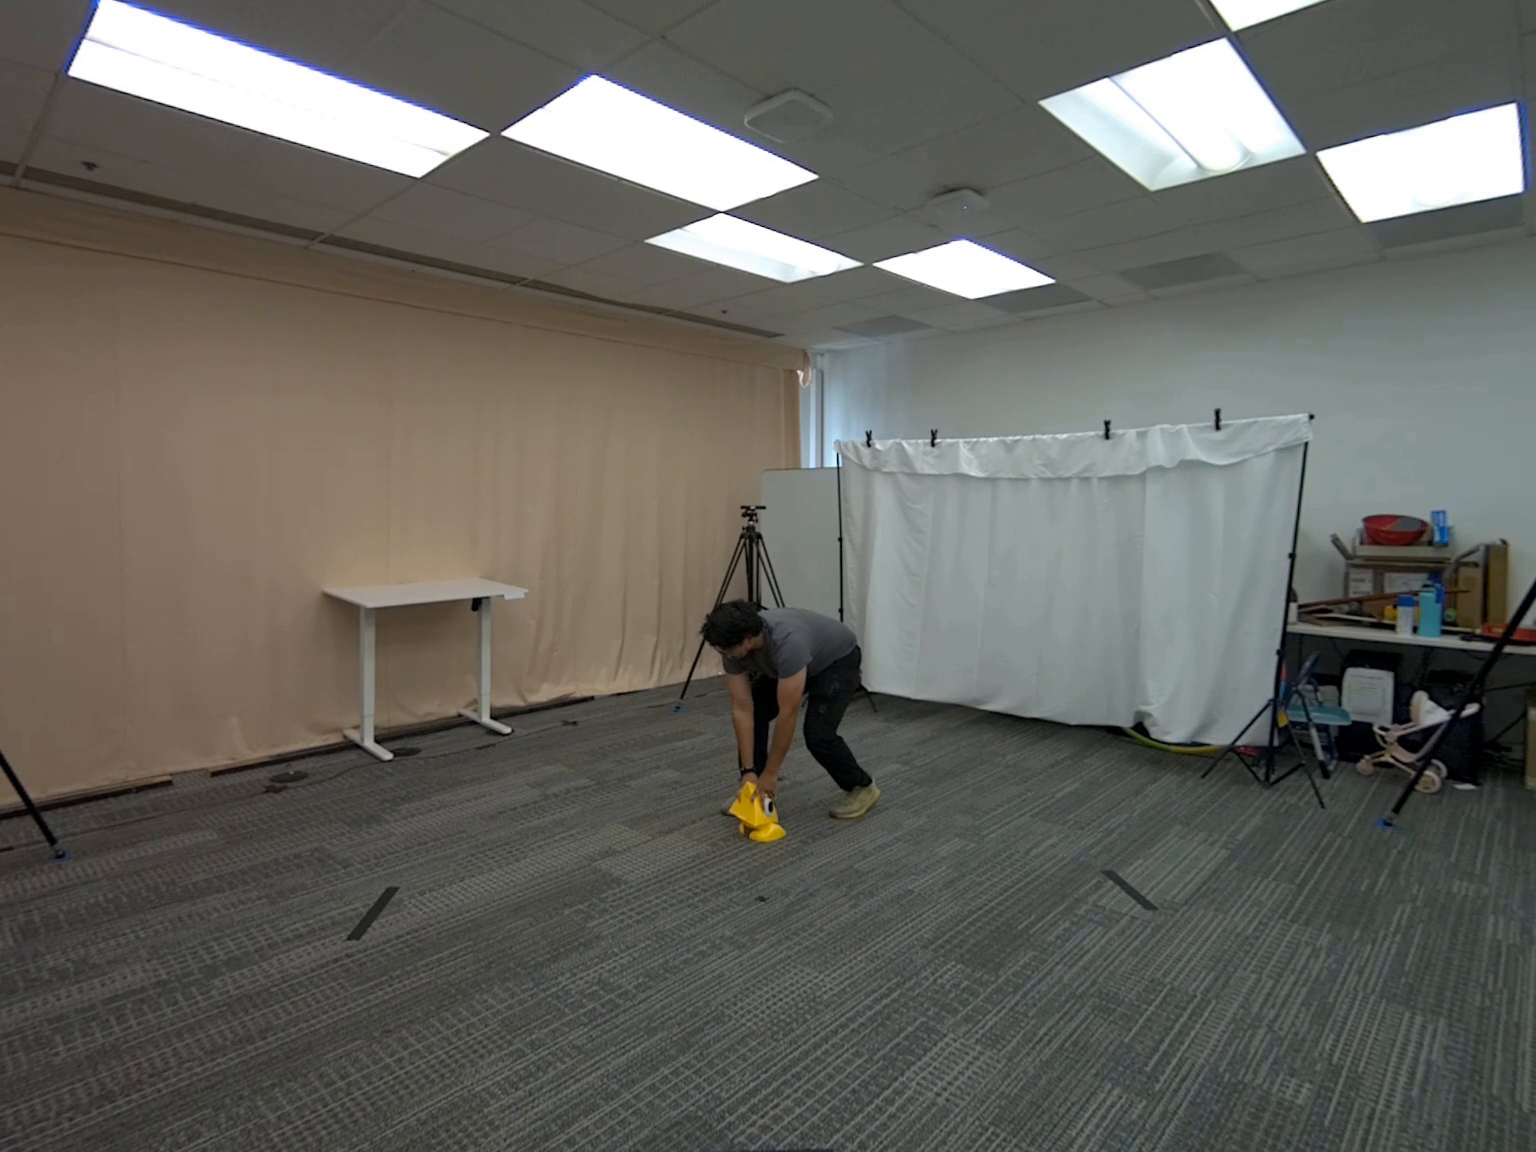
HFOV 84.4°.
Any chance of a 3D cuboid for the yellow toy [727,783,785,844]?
[{"bbox_3d":[-0.041,0.979,3.586,0.188,0.230,0.211,-3,4,-33],"label":"yellow toy"}]
